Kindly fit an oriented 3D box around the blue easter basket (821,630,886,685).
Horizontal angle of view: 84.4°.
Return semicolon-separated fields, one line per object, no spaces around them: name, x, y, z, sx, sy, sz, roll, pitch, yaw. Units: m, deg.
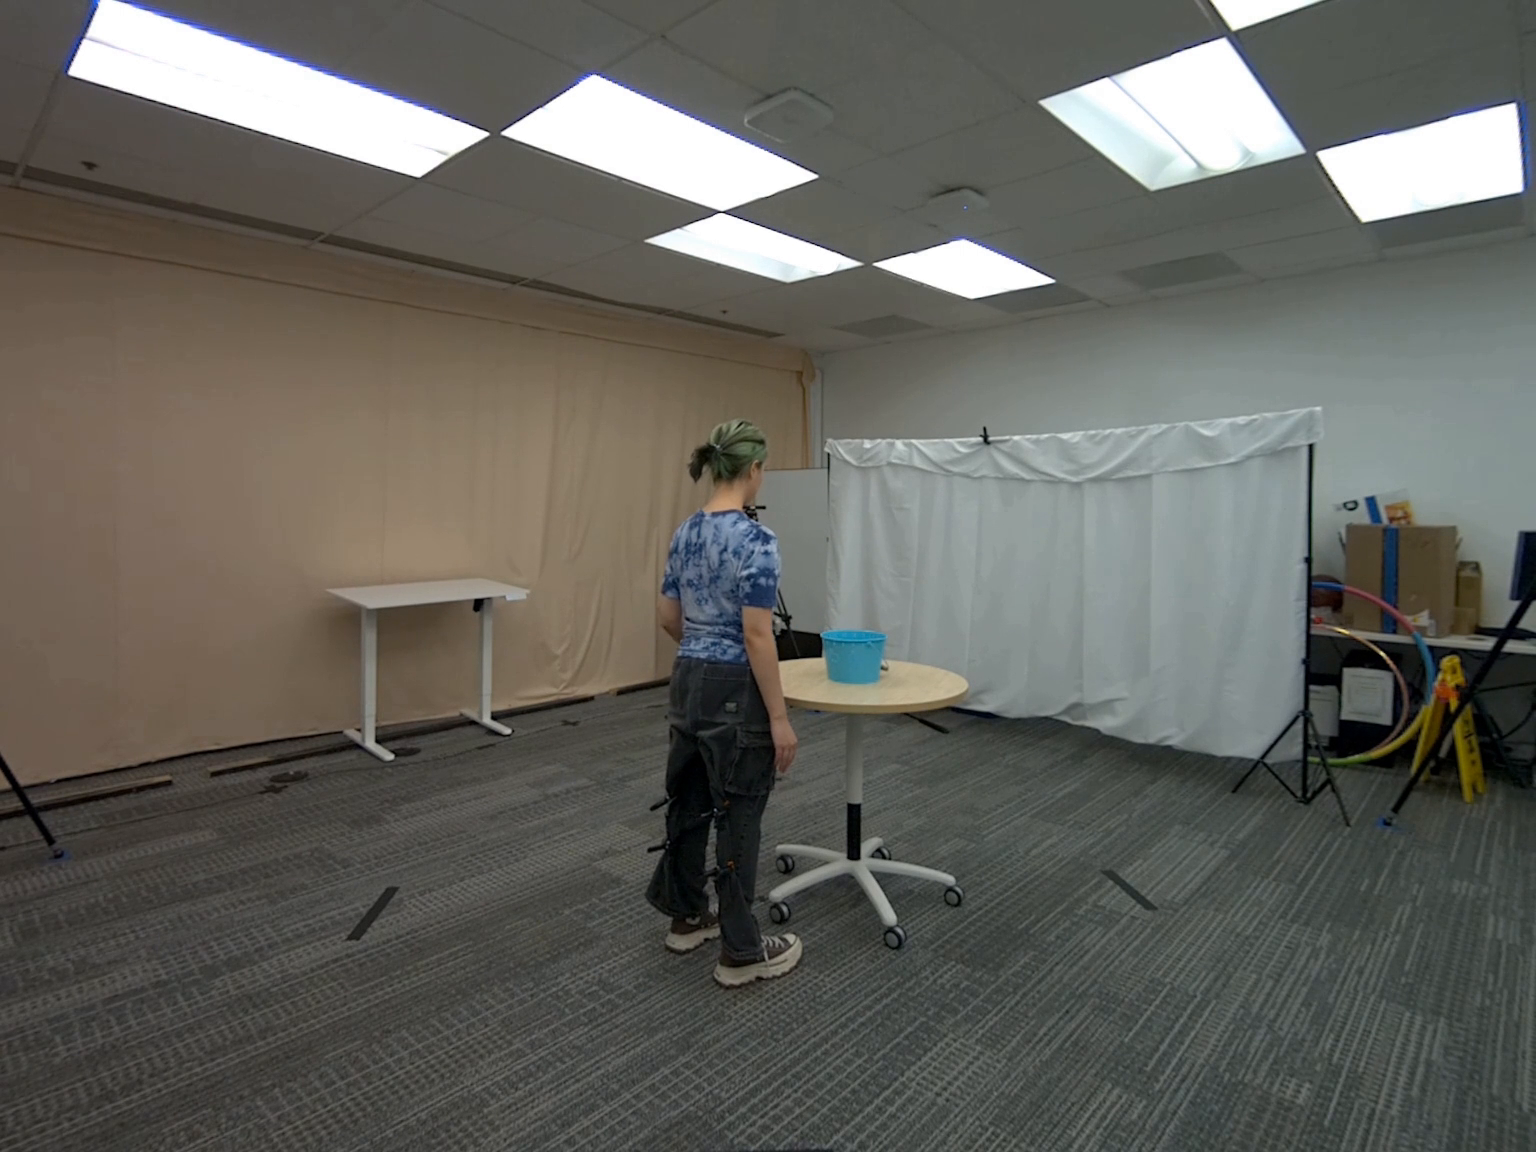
blue easter basket;0.317;0.288;2.944;0.243;0.155;0.244;-1;5;-2
